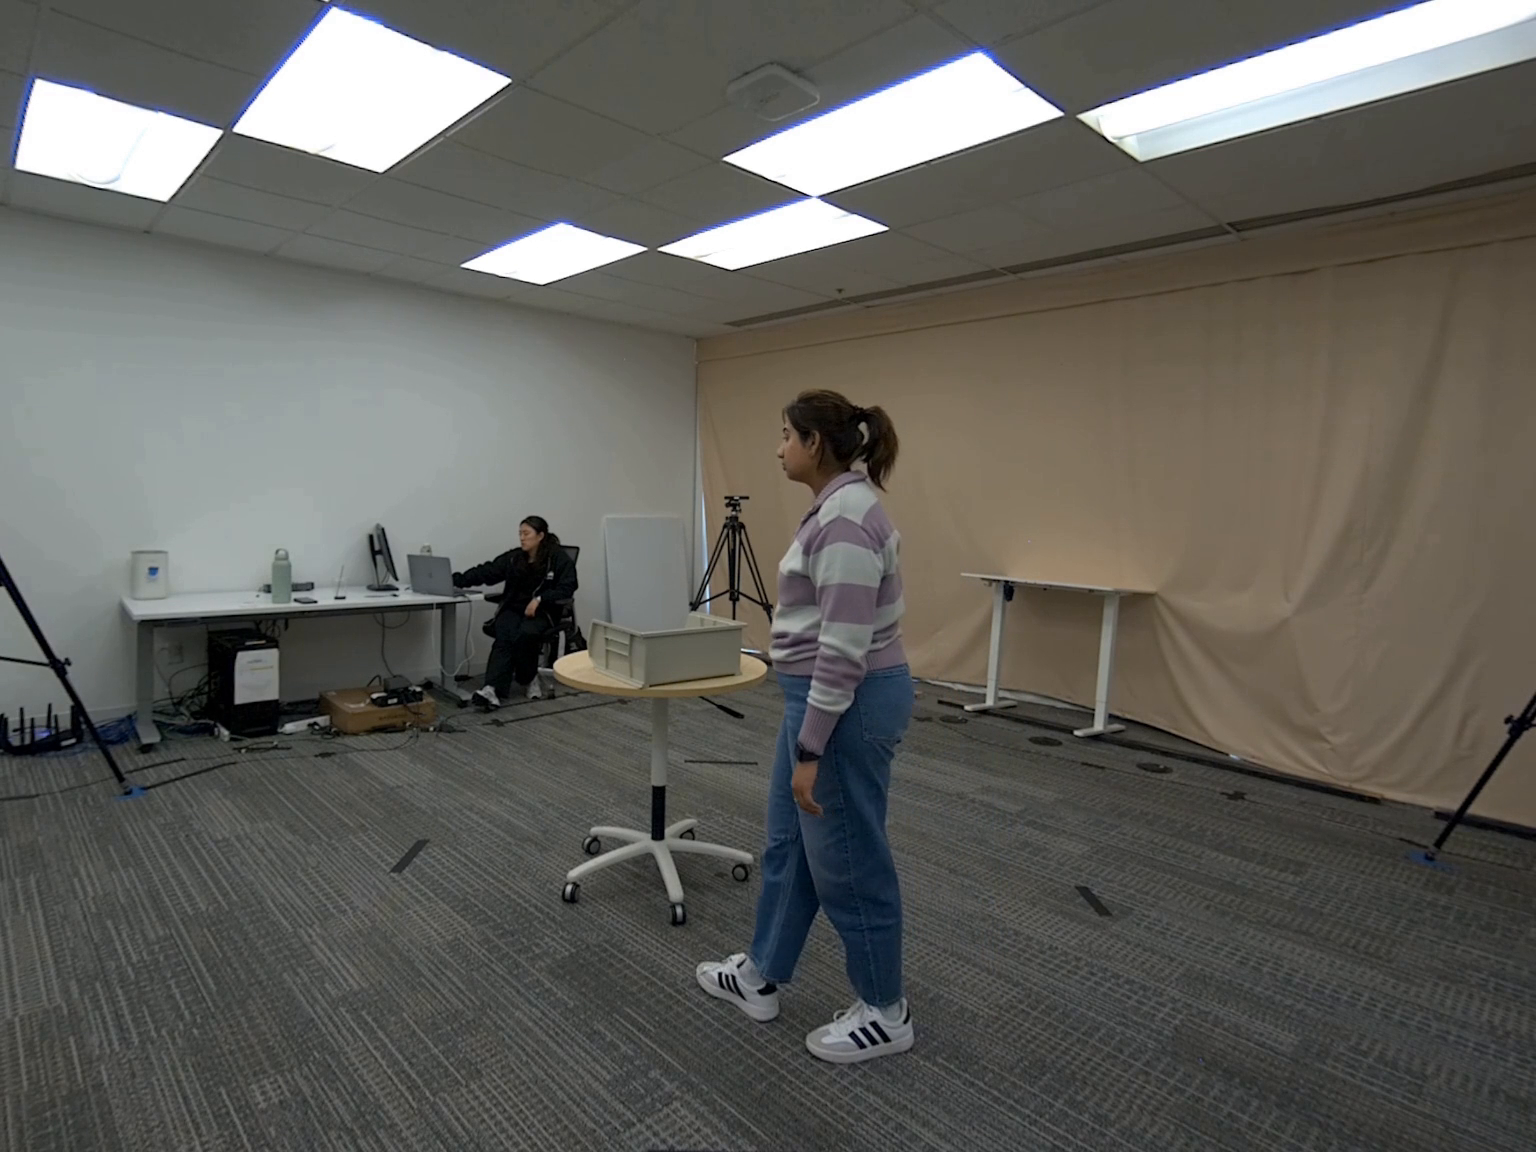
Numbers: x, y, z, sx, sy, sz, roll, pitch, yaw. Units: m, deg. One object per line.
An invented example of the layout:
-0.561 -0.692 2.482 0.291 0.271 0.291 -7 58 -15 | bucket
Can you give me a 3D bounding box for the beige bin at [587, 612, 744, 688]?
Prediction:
-0.357 0.247 2.910 0.413 0.188 0.387 -2 8 -38 | beige bin
